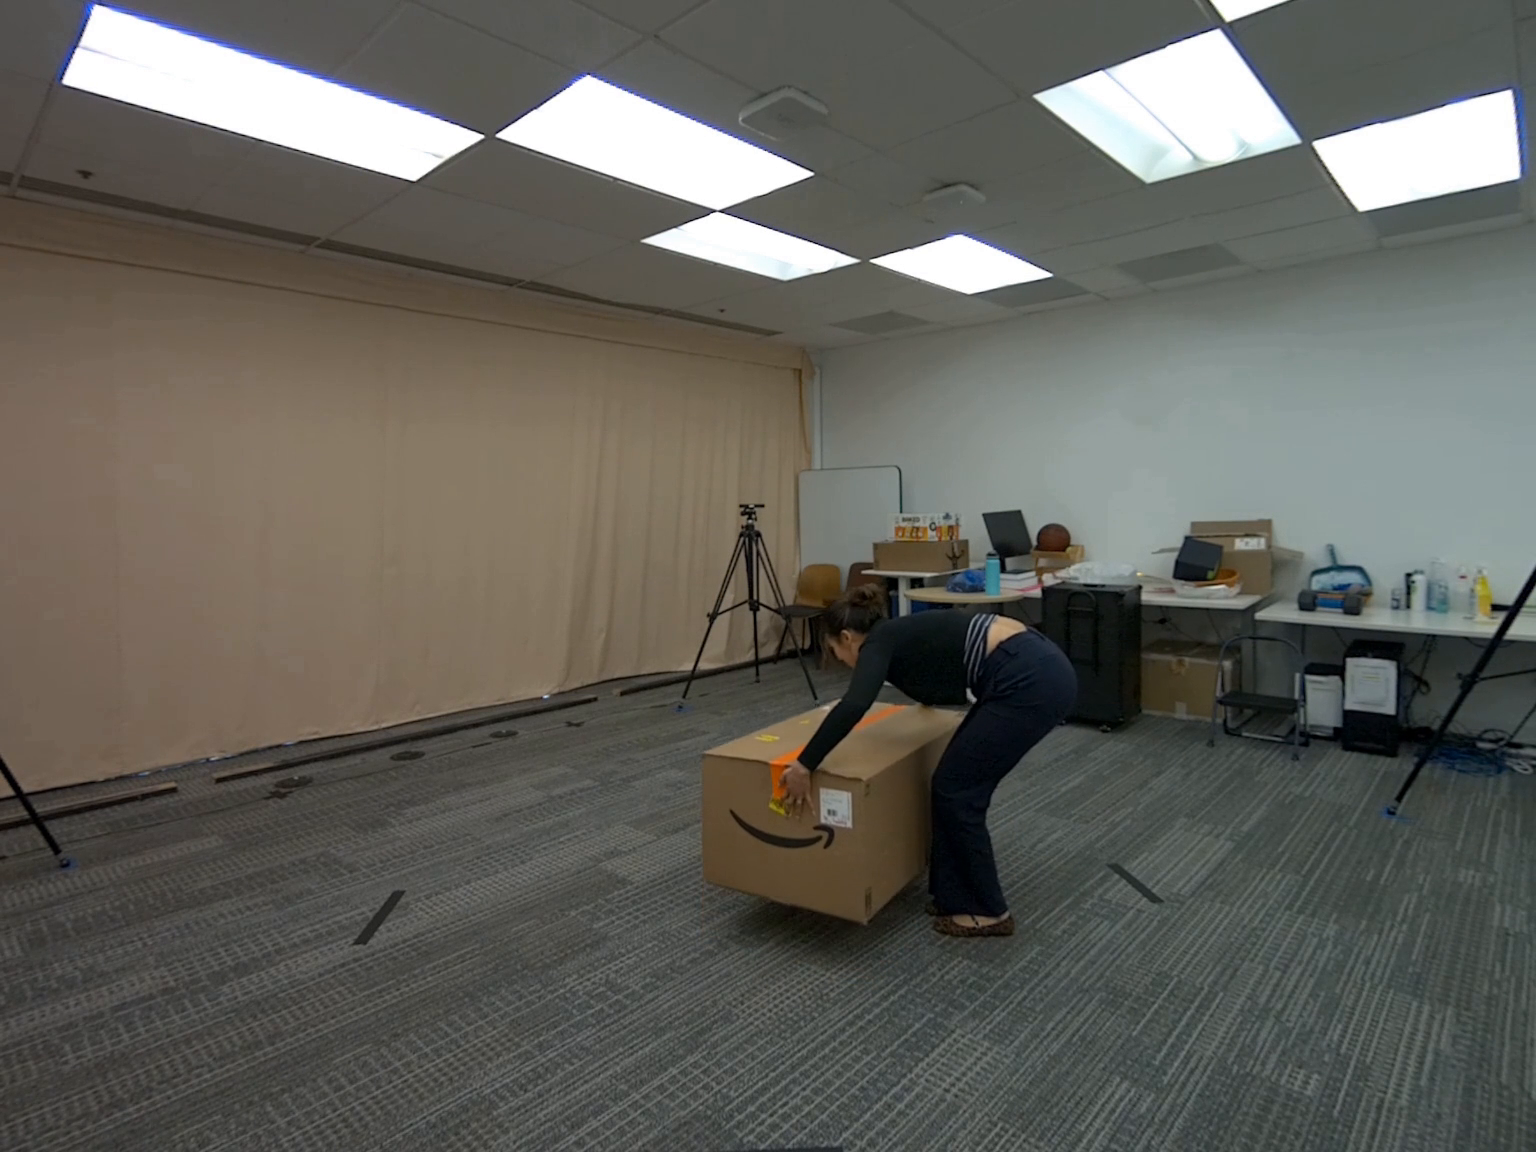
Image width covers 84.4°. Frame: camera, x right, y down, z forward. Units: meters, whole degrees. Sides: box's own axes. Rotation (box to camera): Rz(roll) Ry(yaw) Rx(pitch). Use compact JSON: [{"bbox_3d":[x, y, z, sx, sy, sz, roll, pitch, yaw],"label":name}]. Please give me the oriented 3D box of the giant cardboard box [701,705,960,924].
[{"bbox_3d":[0.293,0.760,3.001,0.595,0.425,0.997,2,4,32],"label":"giant cardboard box"}]
